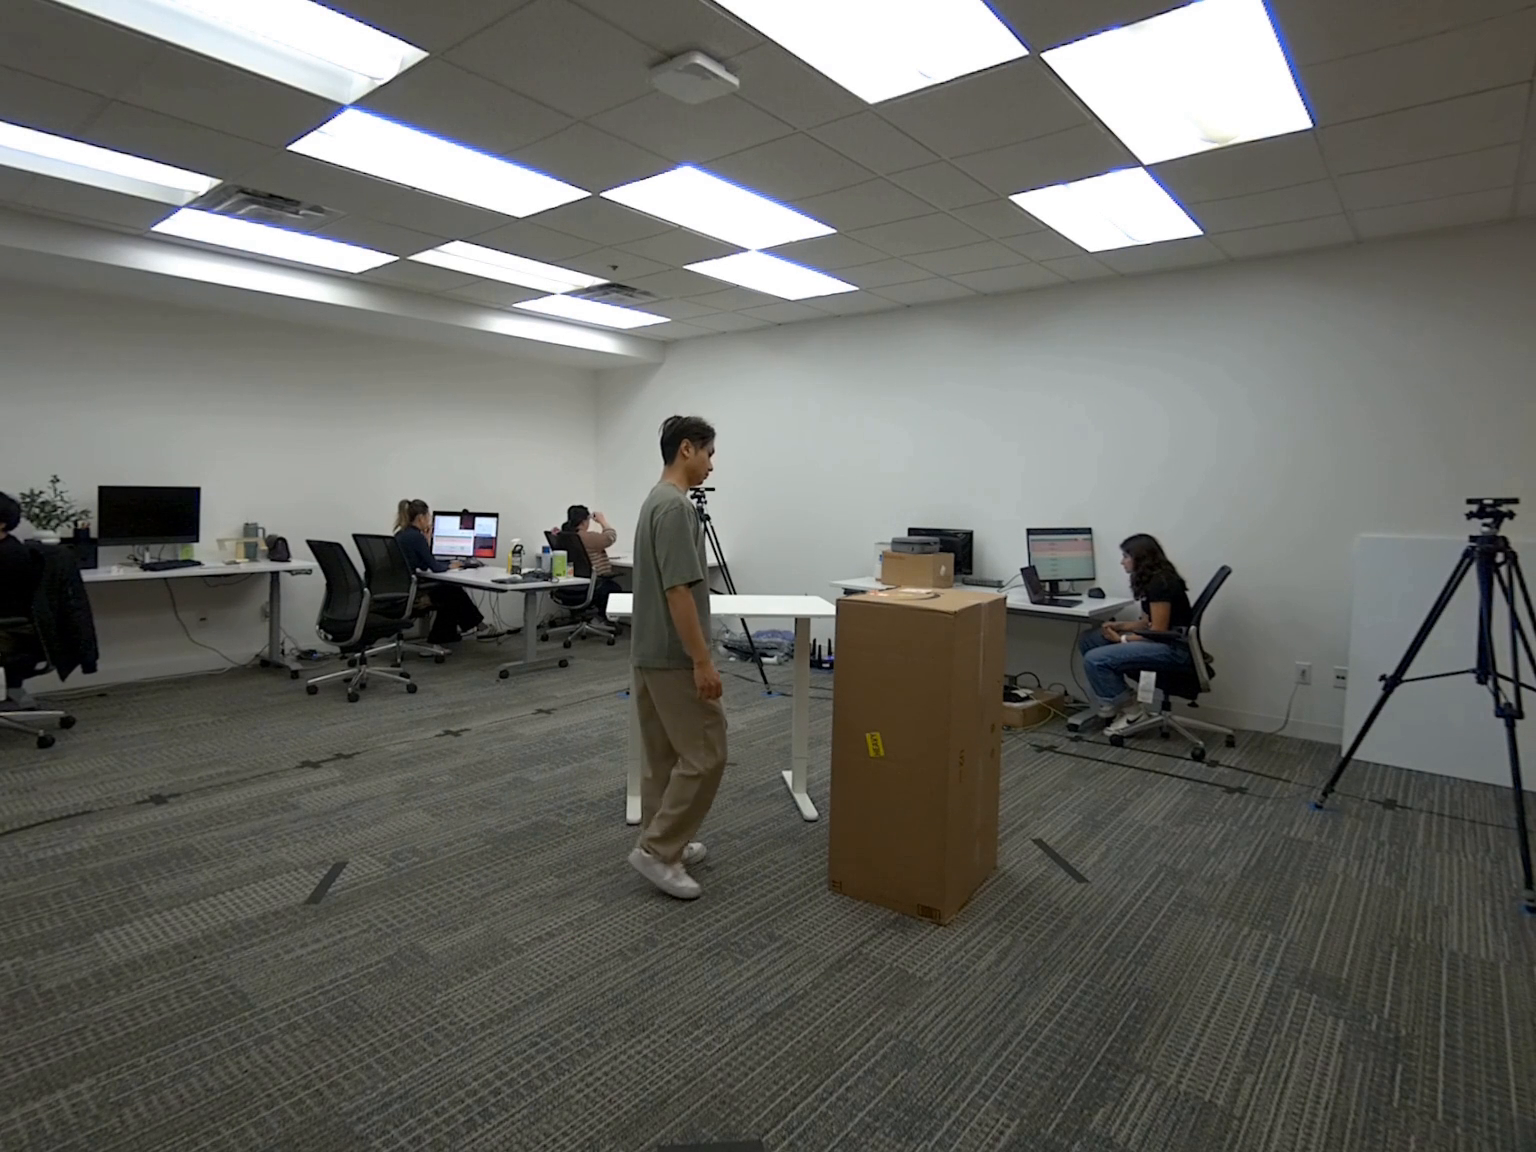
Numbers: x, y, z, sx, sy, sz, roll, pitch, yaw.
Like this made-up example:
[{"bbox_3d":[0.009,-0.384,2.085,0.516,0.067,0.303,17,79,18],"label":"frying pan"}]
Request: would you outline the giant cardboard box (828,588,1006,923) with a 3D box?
[{"bbox_3d":[0.539,0.582,3.055,0.439,1.023,0.562,3,4,33],"label":"giant cardboard box"}]
